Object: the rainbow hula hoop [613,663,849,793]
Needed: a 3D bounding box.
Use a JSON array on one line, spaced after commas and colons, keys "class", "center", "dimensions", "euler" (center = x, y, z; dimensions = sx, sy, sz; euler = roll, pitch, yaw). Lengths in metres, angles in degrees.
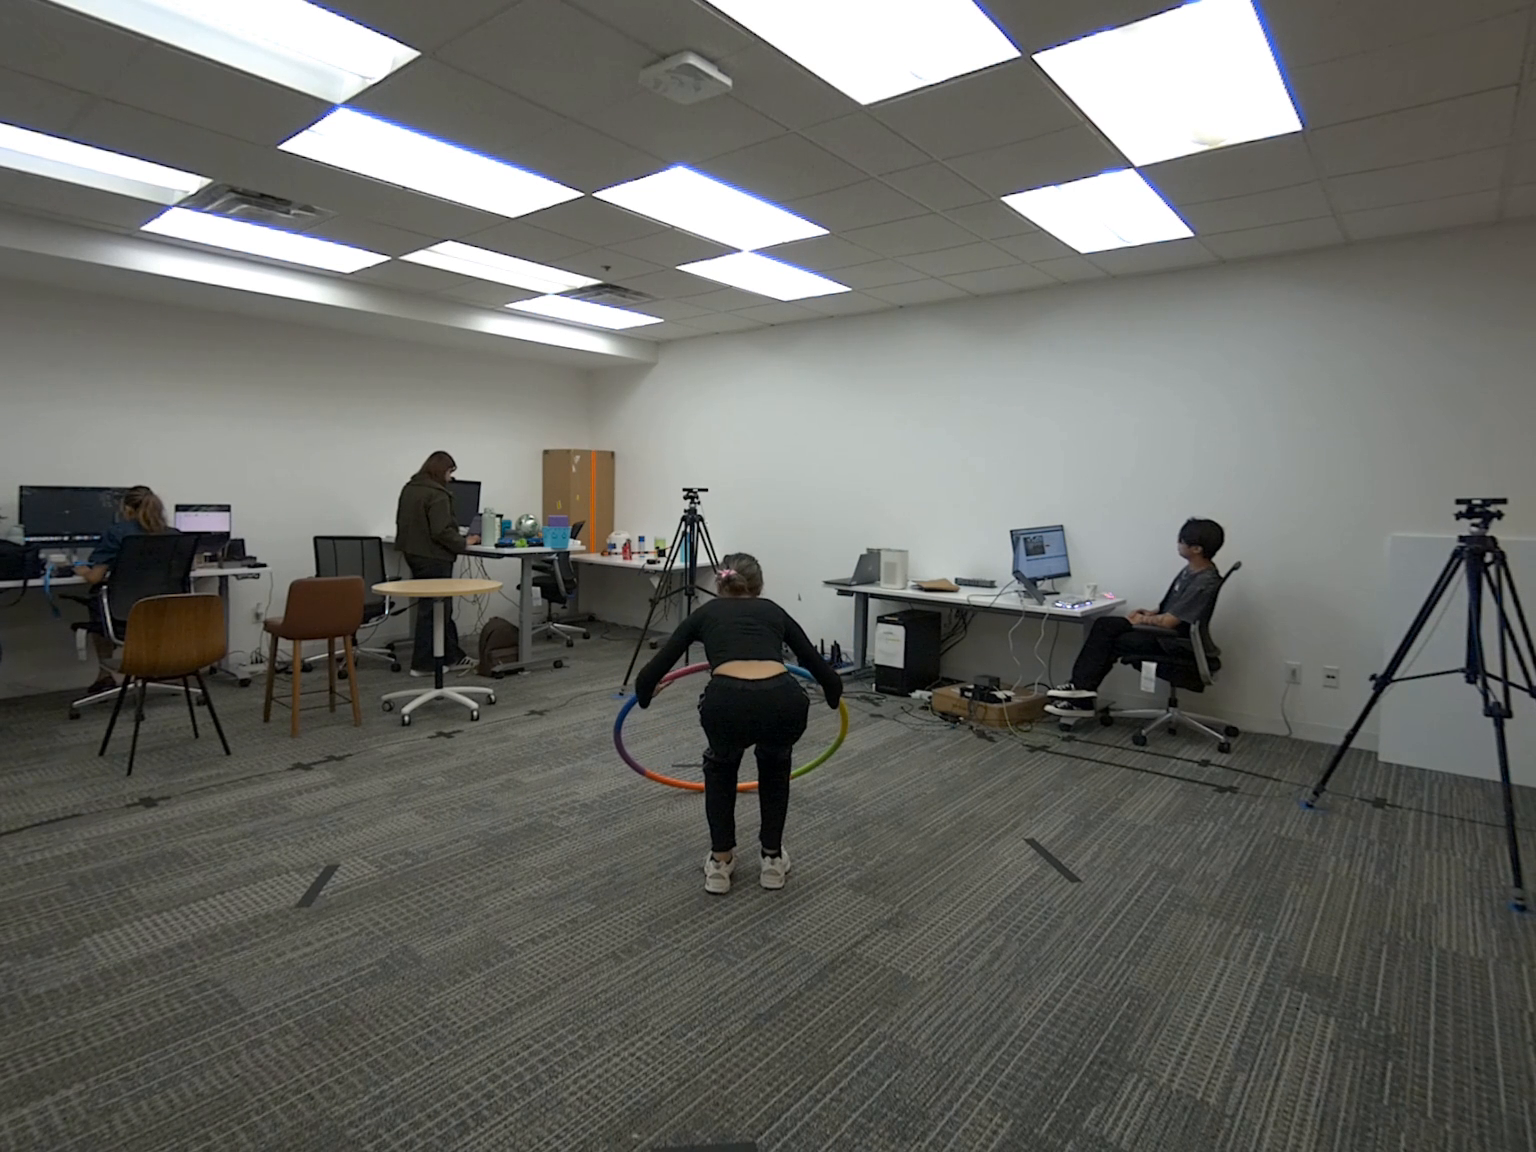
[{"class": "rainbow hula hoop", "center": [-0.177, 0.653, 3.601], "dimensions": [0.973, 0.954, 0.036], "euler": [1, 47, -5]}]
